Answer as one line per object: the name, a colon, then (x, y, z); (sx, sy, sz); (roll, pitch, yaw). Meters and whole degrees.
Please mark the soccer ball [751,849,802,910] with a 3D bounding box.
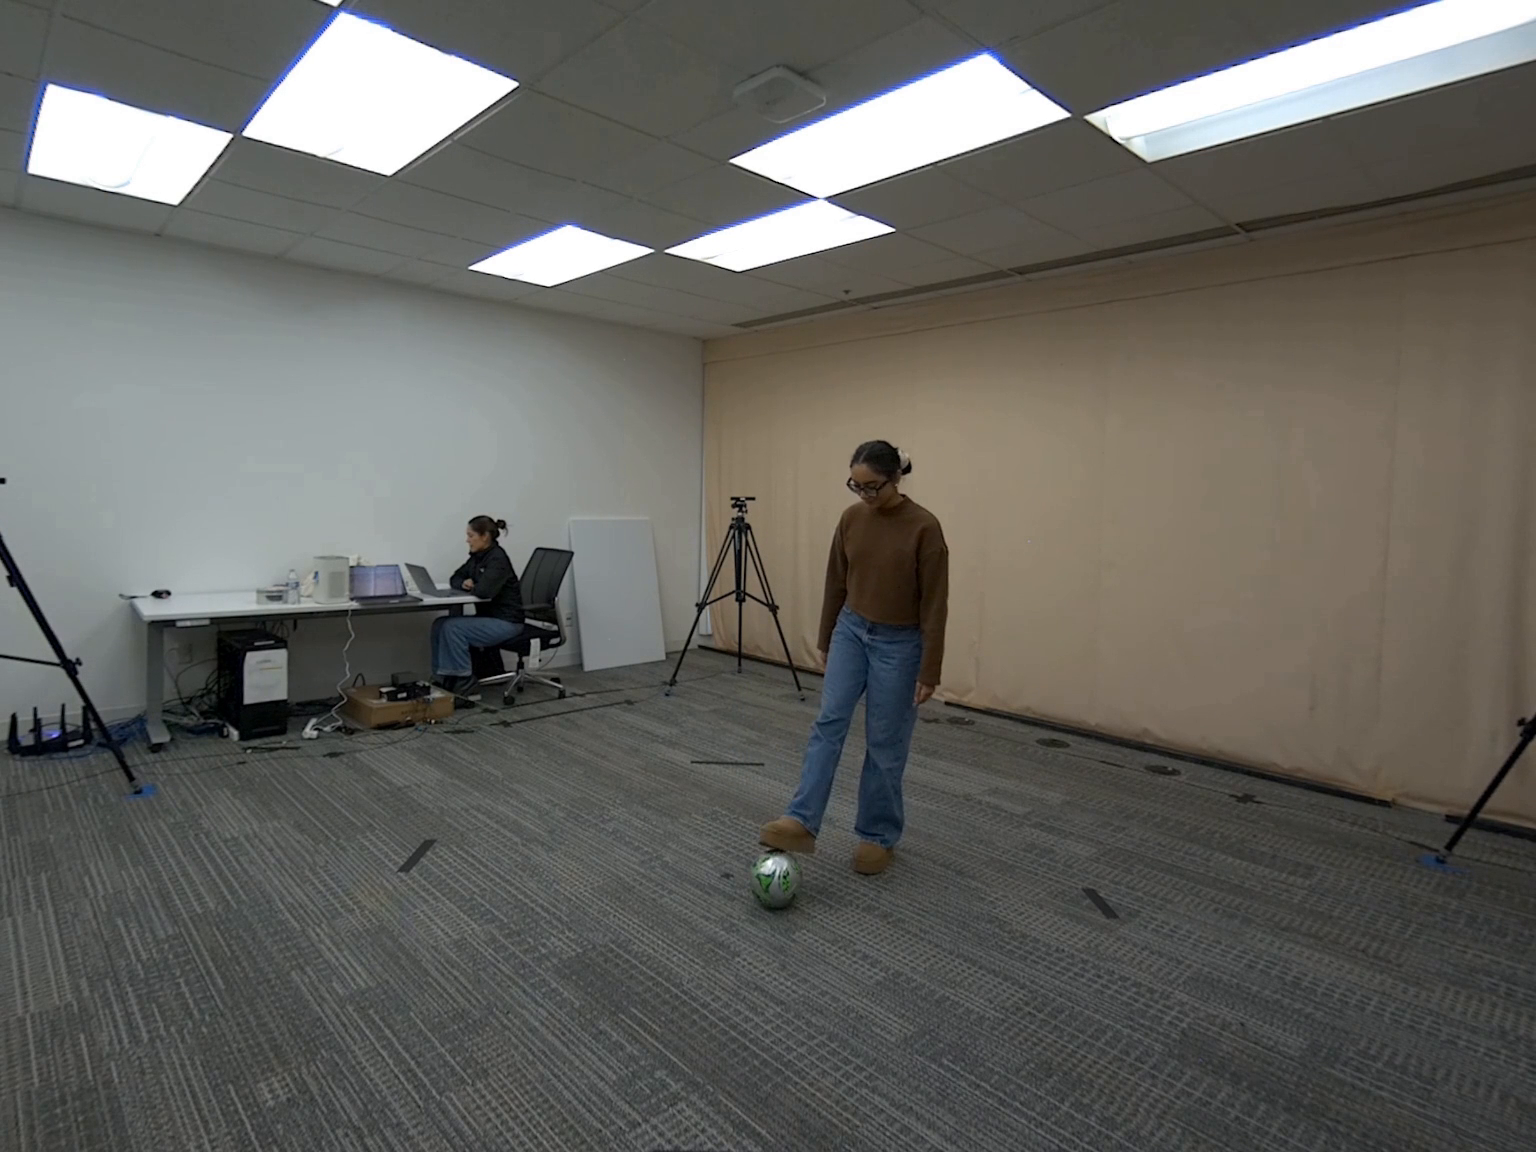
soccer ball: (0.020, 1.035, 2.880); (0.187, 0.187, 0.188); (1, 4, -1)
